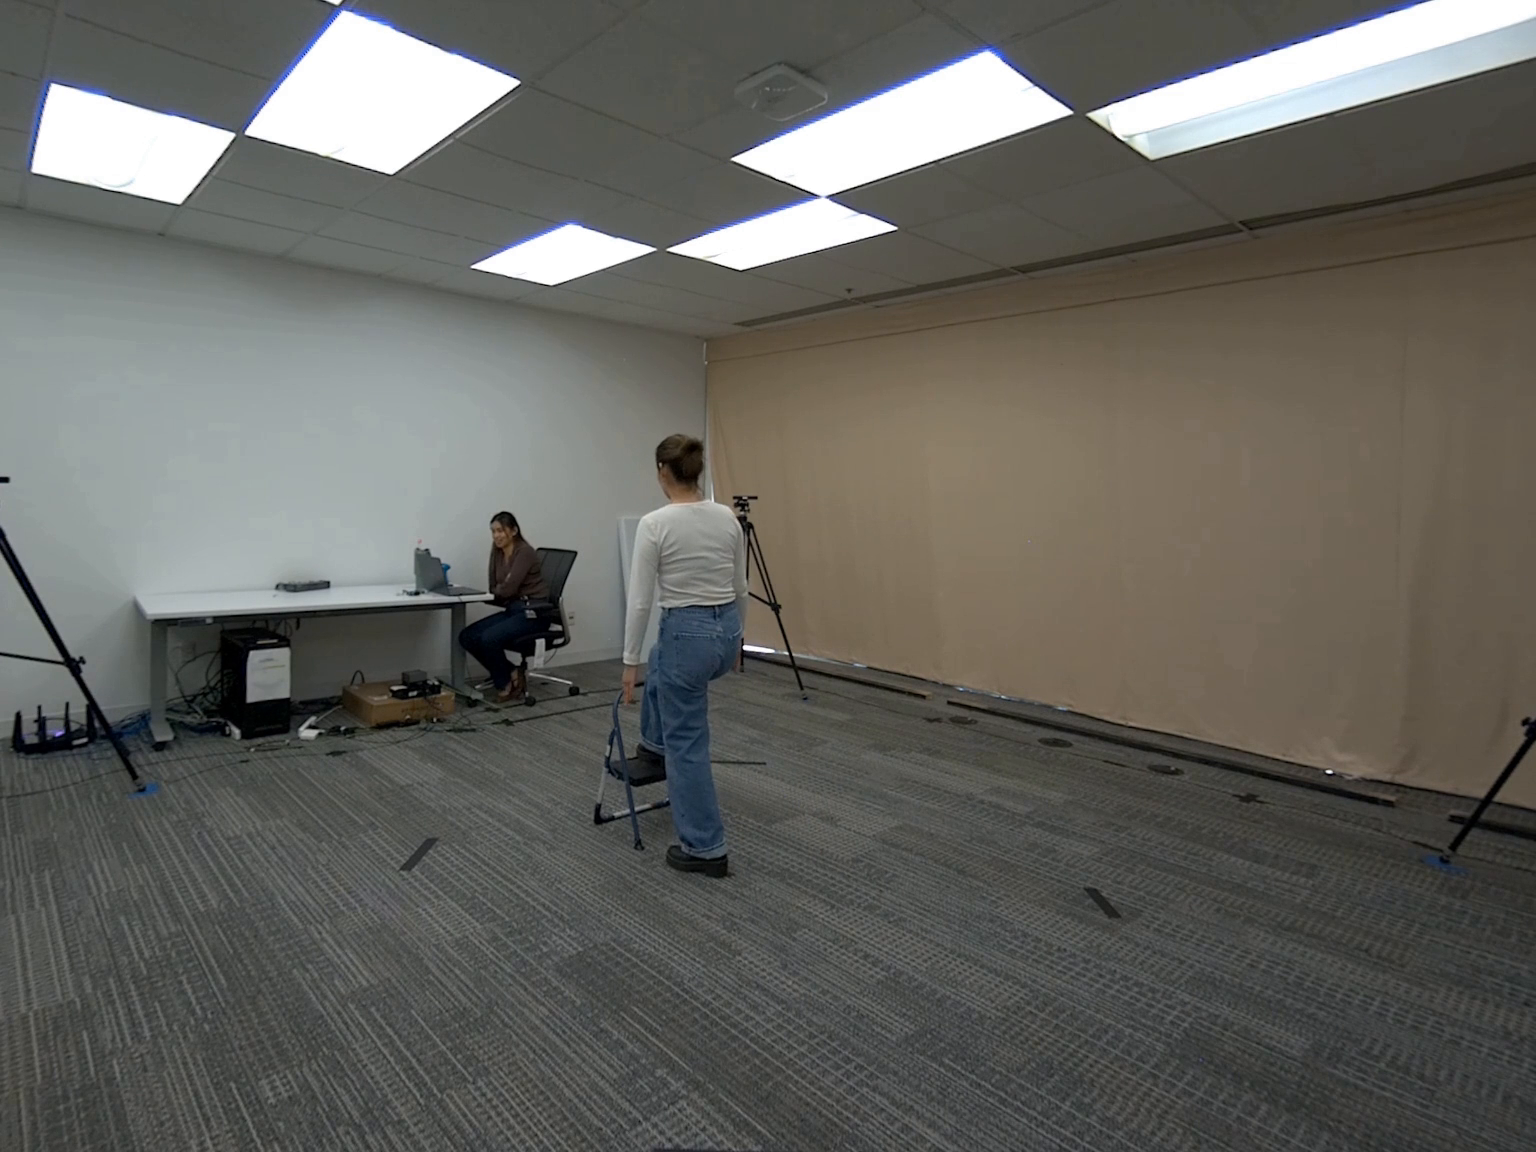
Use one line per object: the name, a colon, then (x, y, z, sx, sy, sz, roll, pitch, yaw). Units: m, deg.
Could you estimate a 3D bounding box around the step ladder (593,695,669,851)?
step ladder: (-0.473, 0.755, 3.552, 0.420, 0.605, 0.358, -1, 4, -44)
